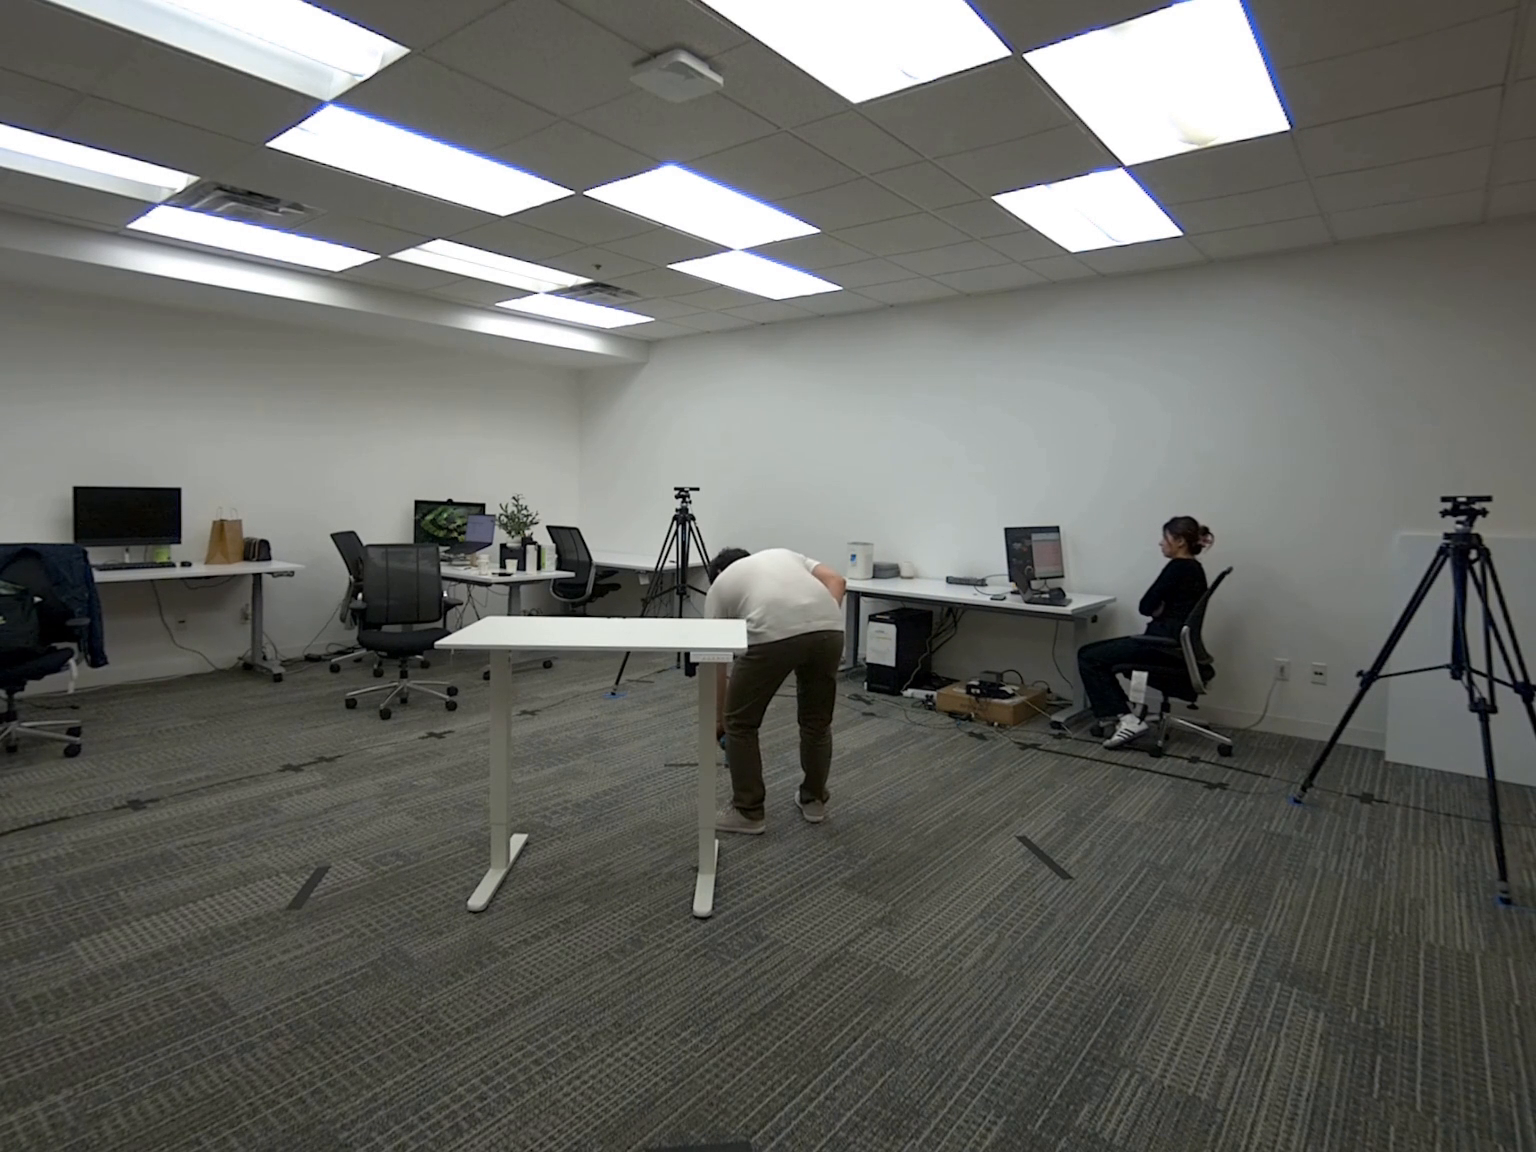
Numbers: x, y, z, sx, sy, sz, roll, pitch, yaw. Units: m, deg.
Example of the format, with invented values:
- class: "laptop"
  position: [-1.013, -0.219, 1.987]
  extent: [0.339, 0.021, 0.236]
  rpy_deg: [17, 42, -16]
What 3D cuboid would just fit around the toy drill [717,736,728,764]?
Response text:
- class: "toy drill"
  position: [-0.141, 0.751, 3.718]
  extent: [0.164, 0.147, 0.062]
  rpy_deg: [8, -13, -36]
